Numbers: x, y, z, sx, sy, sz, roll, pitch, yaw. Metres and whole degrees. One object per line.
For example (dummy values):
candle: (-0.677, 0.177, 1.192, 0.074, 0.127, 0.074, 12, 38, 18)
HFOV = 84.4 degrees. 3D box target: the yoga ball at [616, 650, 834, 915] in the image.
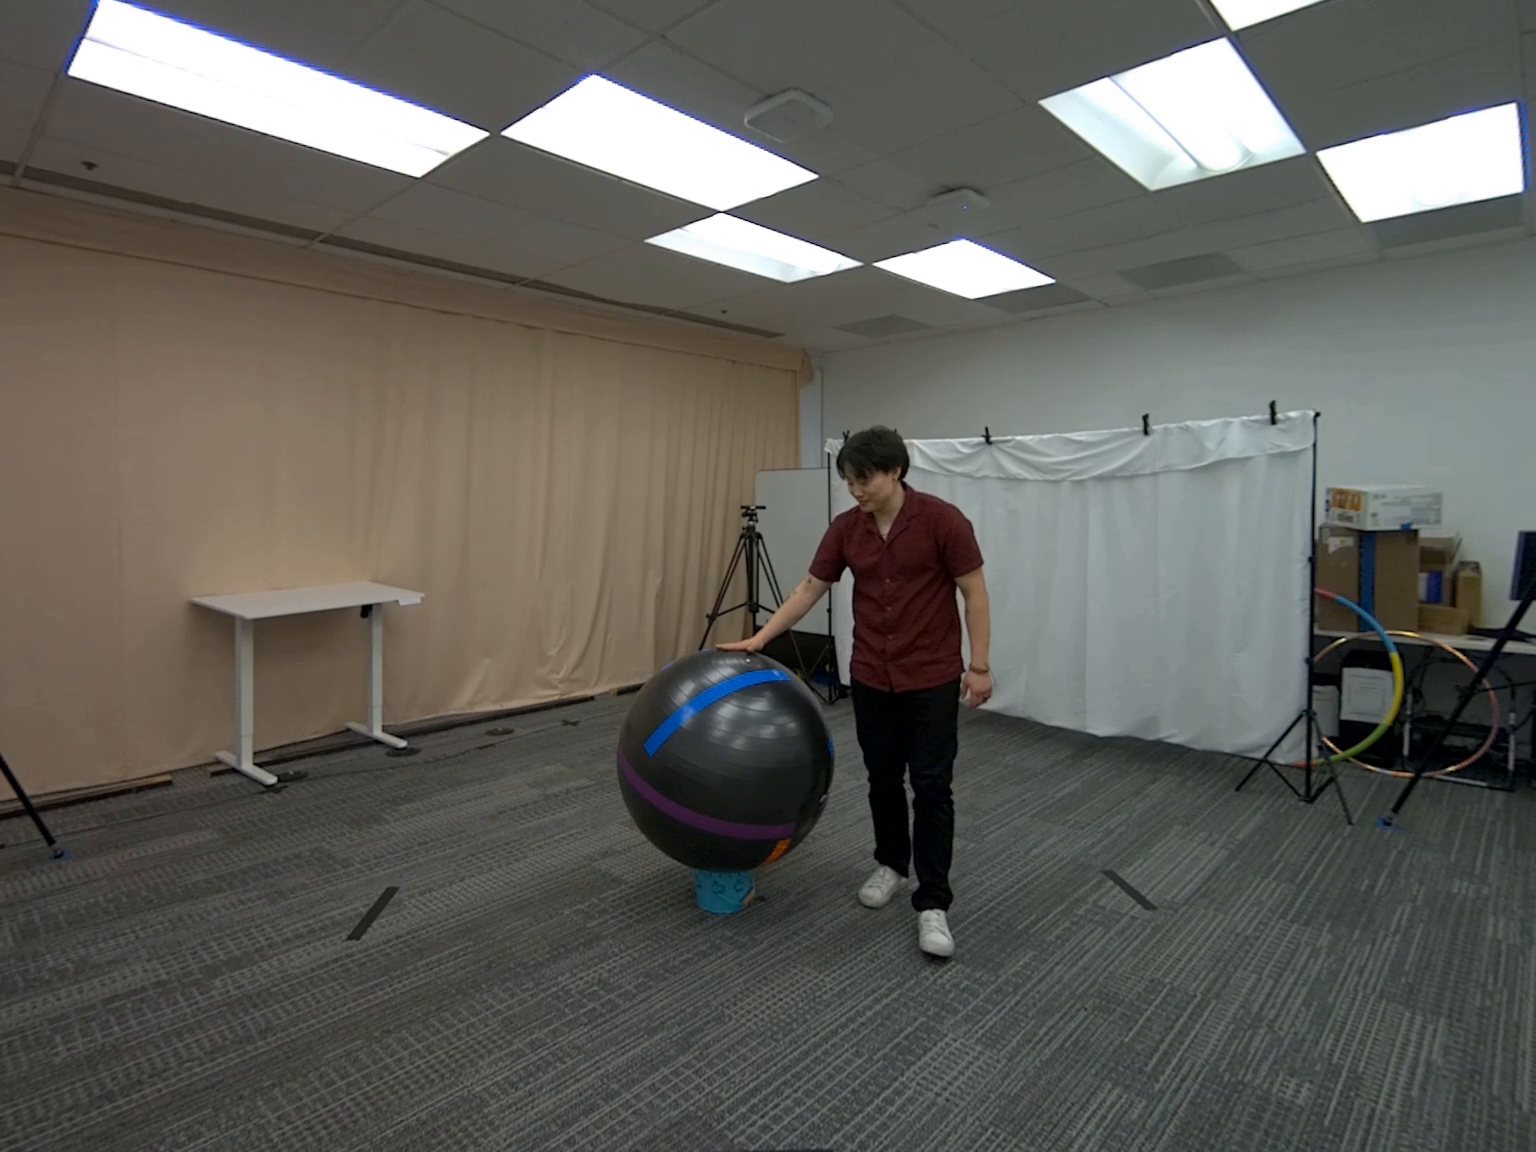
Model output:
yoga ball: (-0.143, 0.637, 2.946, 0.757, 0.756, 0.760, 0, 4, -2)
